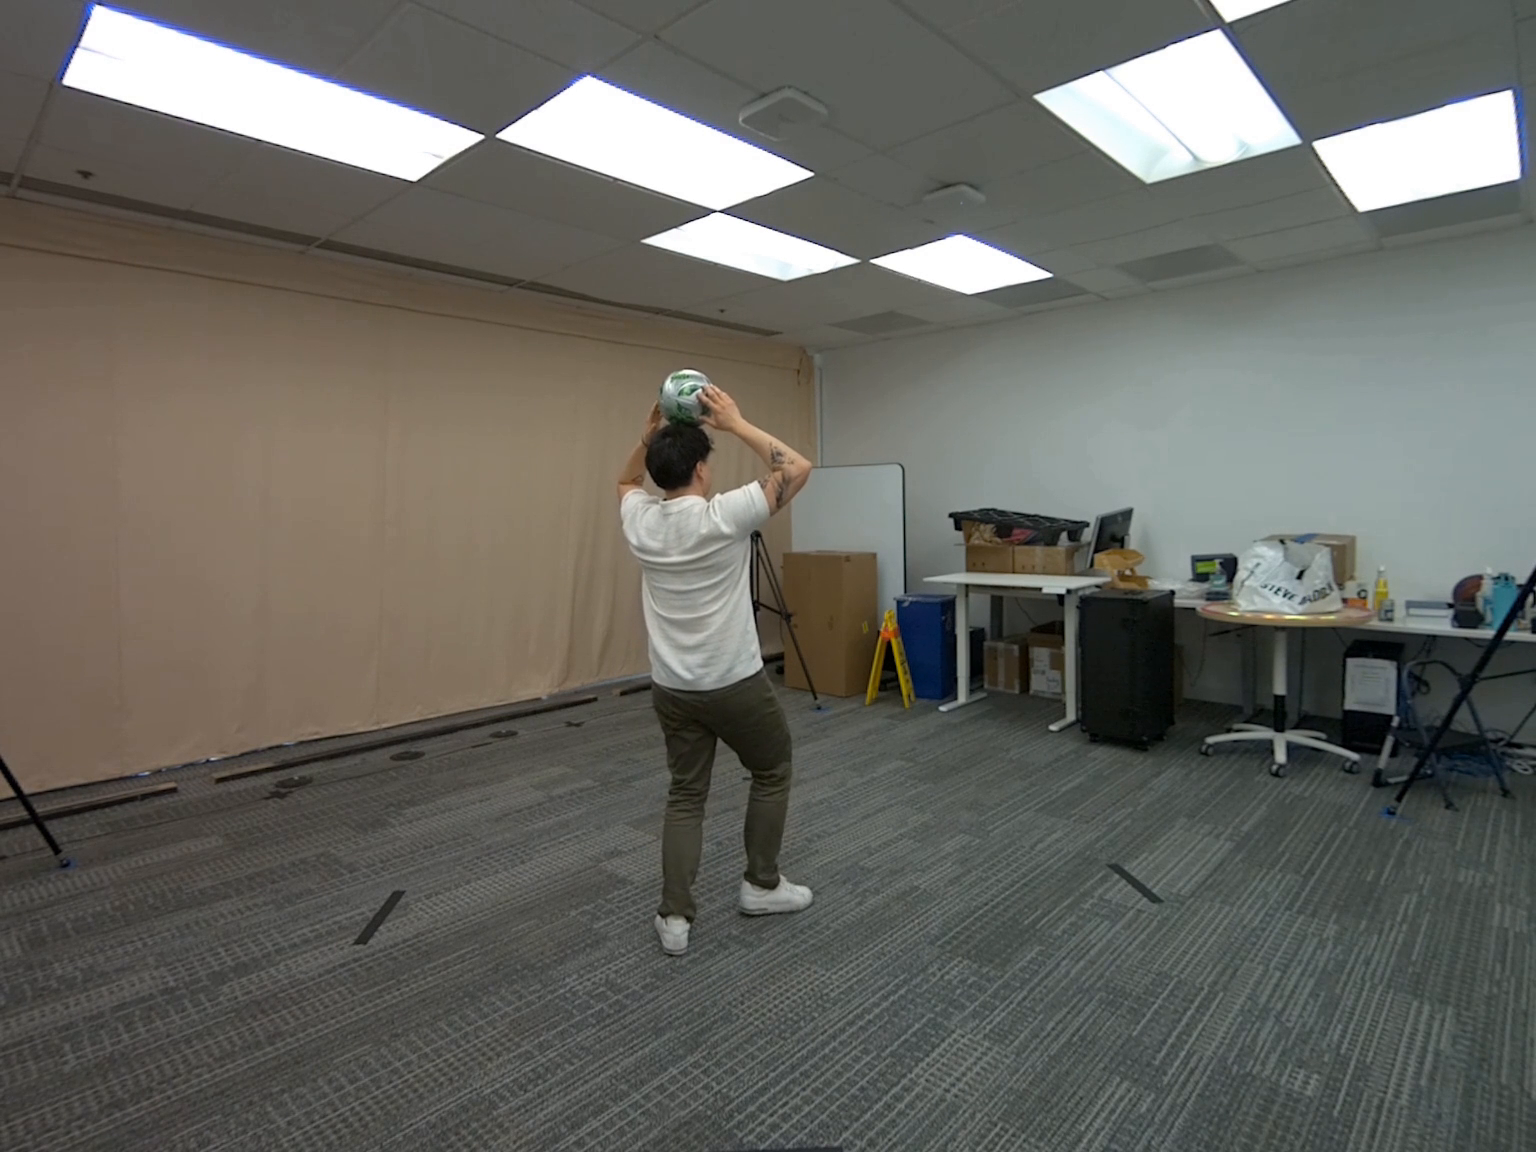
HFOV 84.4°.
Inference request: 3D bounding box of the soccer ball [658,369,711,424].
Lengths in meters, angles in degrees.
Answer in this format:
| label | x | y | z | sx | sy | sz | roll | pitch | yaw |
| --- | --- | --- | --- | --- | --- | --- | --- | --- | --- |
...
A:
| label | x | y | z | sx | sy | sz | roll | pitch | yaw |
| --- | --- | --- | --- | --- | --- | --- | --- | --- | --- |
| soccer ball | -0.247 | -0.558 | 2.673 | 0.187 | 0.187 | 0.188 | -1 | 4 | -2 |
